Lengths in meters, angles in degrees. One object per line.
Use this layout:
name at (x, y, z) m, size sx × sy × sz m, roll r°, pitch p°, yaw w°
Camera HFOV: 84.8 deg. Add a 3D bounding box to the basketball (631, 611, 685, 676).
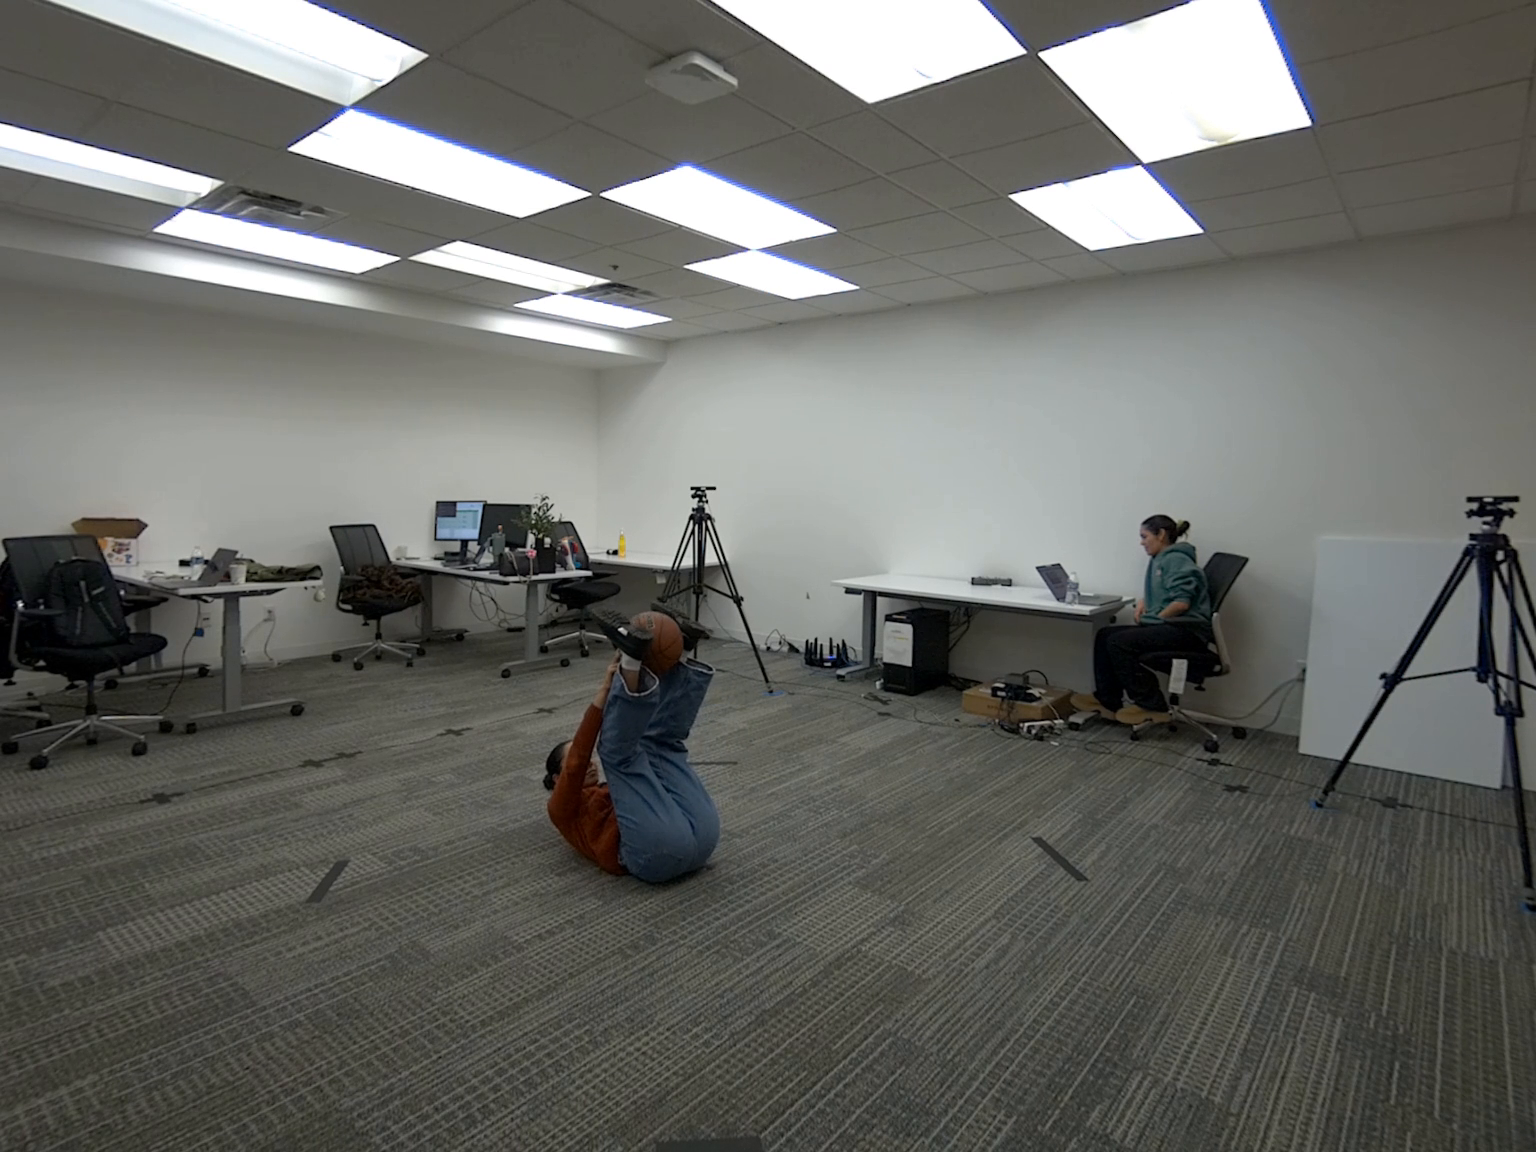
basketball at (-0.437, 0.244, 3.125) m, size 0.236 × 0.235 × 0.237 m, roll -3°, pitch 3°, yaw -2°
